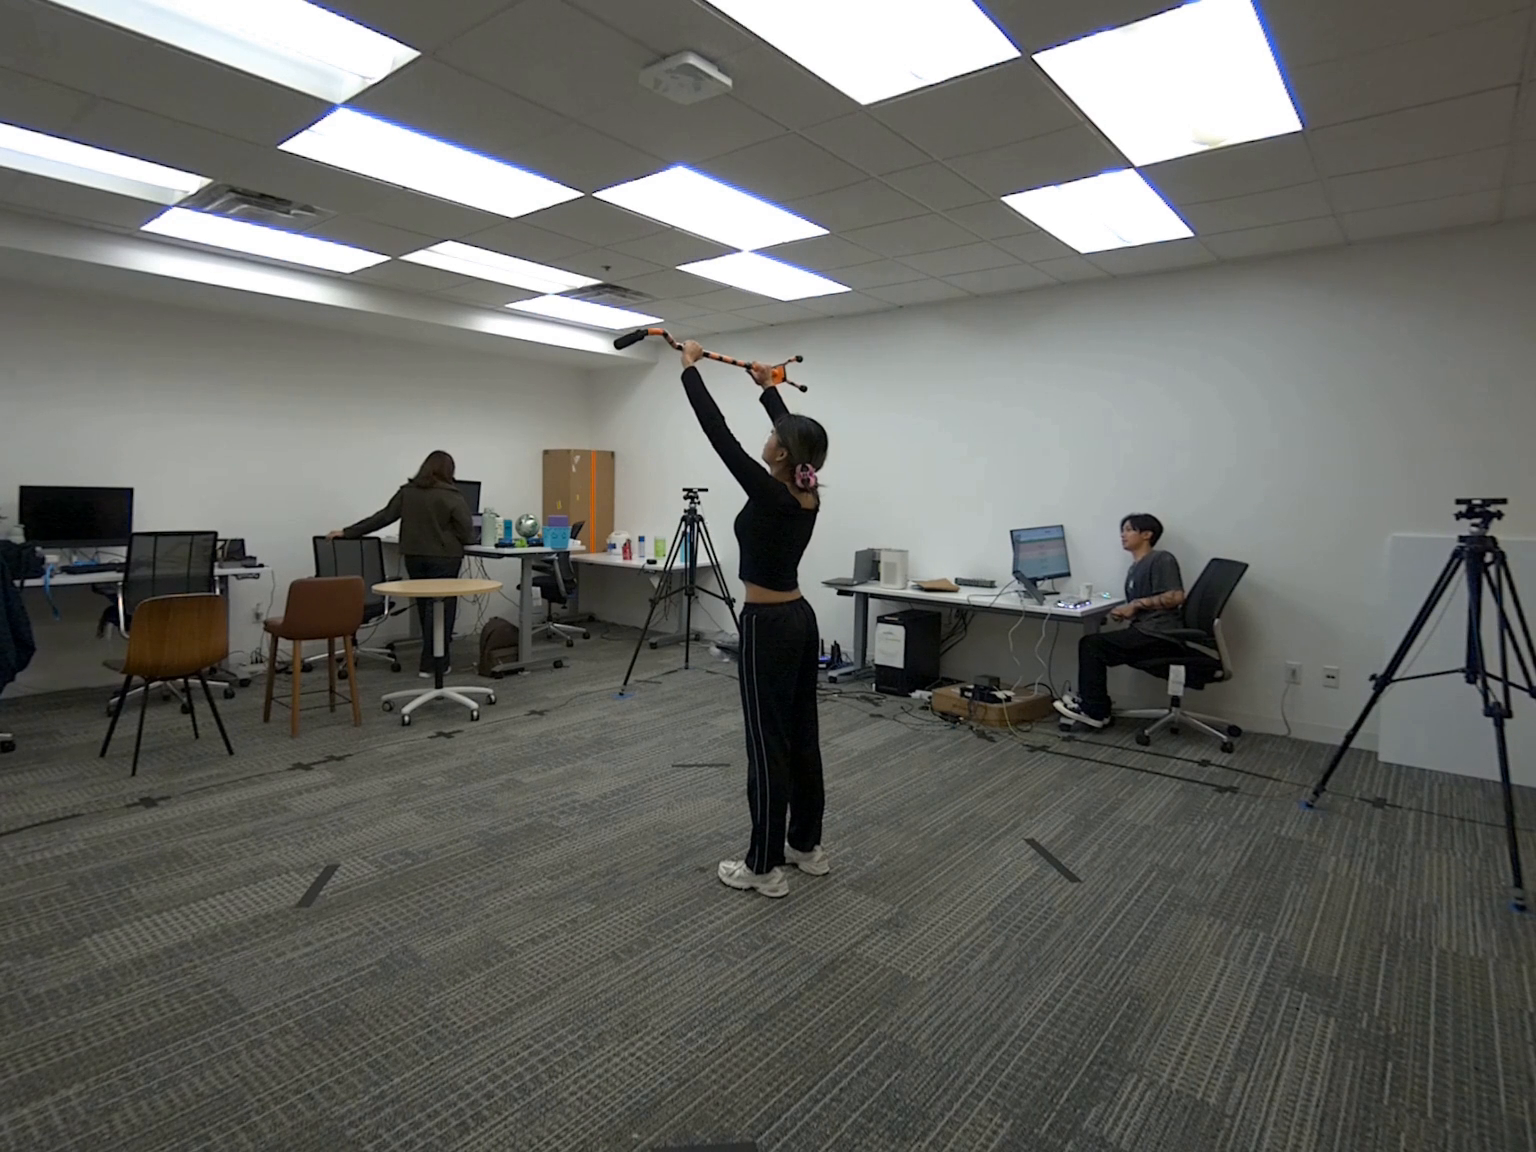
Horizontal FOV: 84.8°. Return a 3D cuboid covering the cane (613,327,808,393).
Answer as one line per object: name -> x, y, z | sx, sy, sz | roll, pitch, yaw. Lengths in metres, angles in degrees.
cane -> -0.188, -0.778, 3.077 | 0.211, 0.152, 0.881 | -12, -5, 34
